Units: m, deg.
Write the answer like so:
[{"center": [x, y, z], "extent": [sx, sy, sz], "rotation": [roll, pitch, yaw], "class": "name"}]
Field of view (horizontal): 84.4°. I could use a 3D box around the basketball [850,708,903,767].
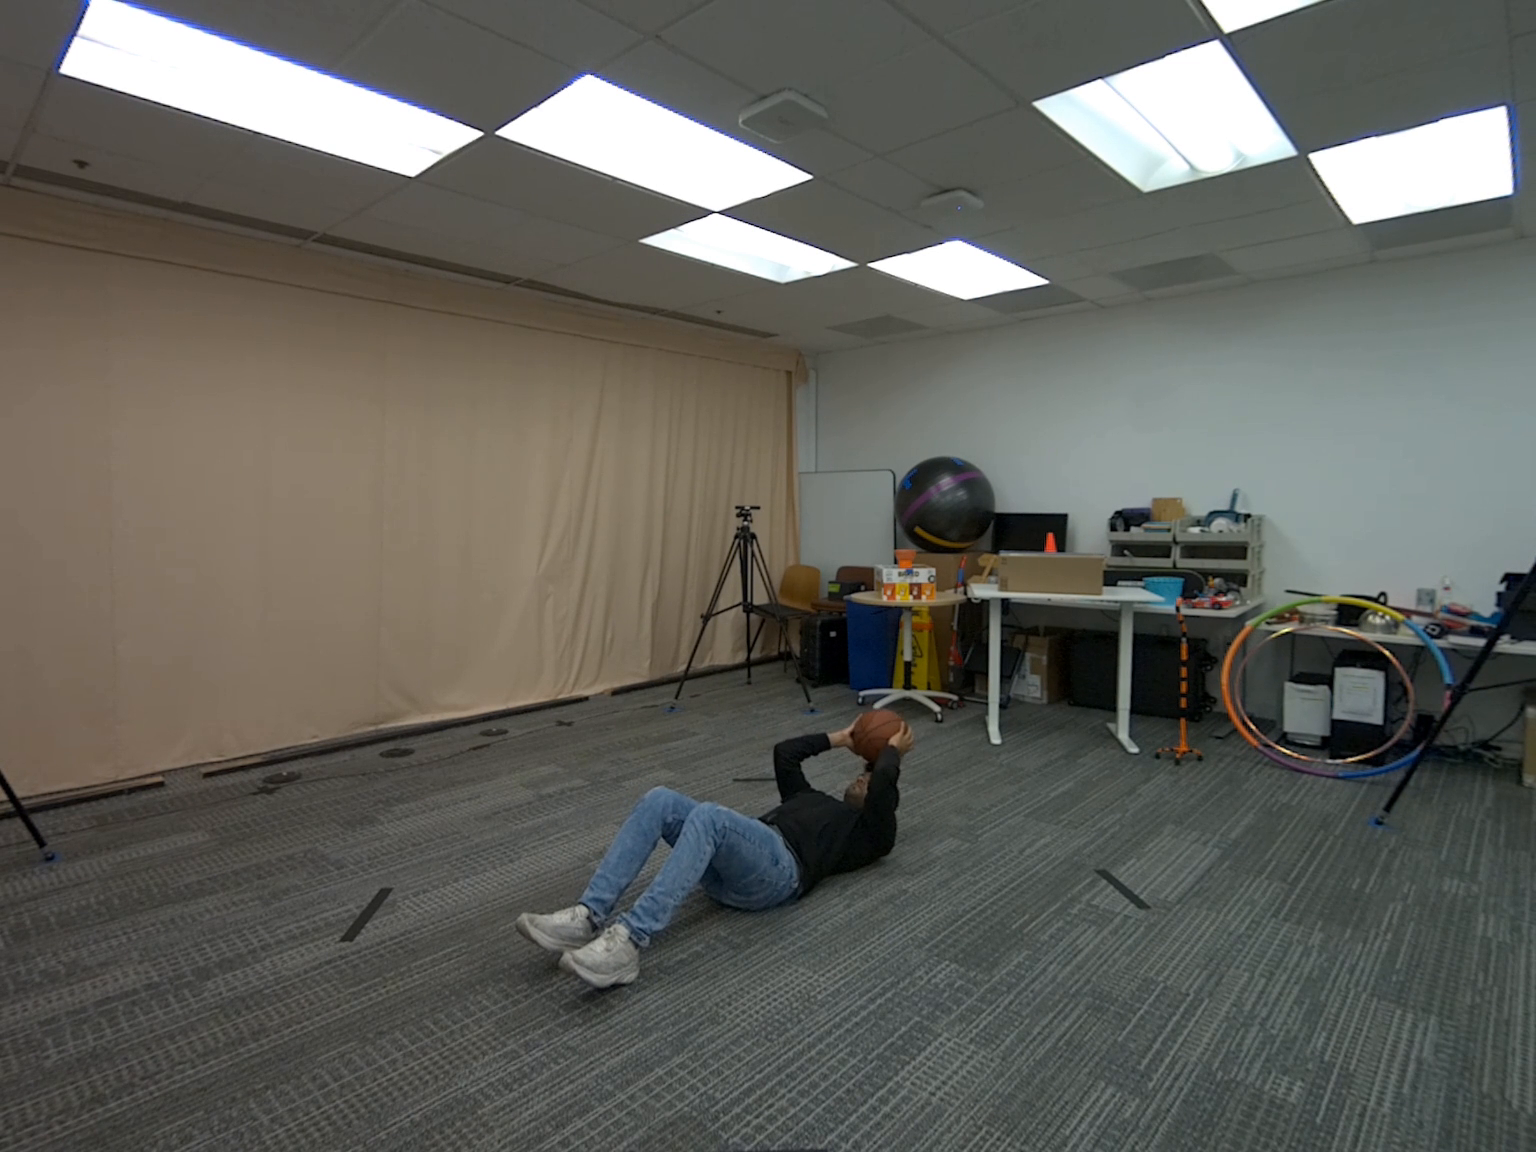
[{"center": [0.474, 0.681, 3.578], "extent": [0.236, 0.235, 0.237], "rotation": [0, 4, -2], "class": "basketball"}]
